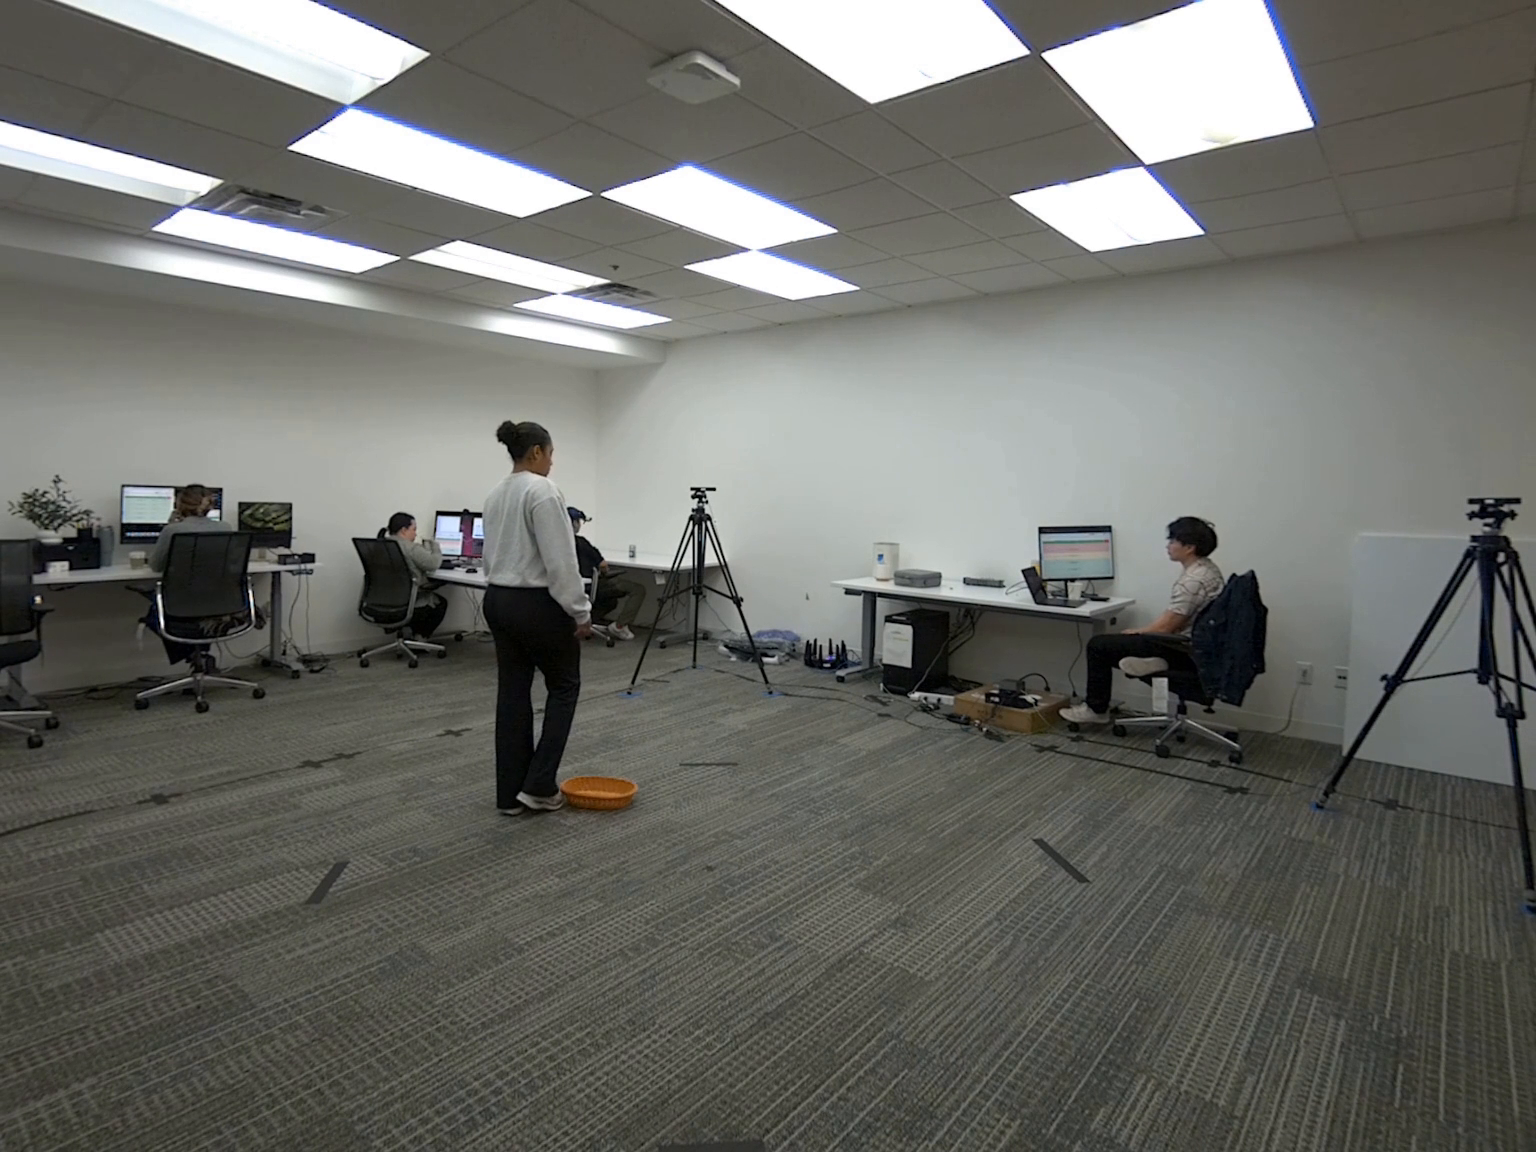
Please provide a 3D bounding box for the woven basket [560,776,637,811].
[{"bbox_3d":[-0.729,0.957,3.751,0.355,0.073,0.250,3,6,11],"label":"woven basket"}]
